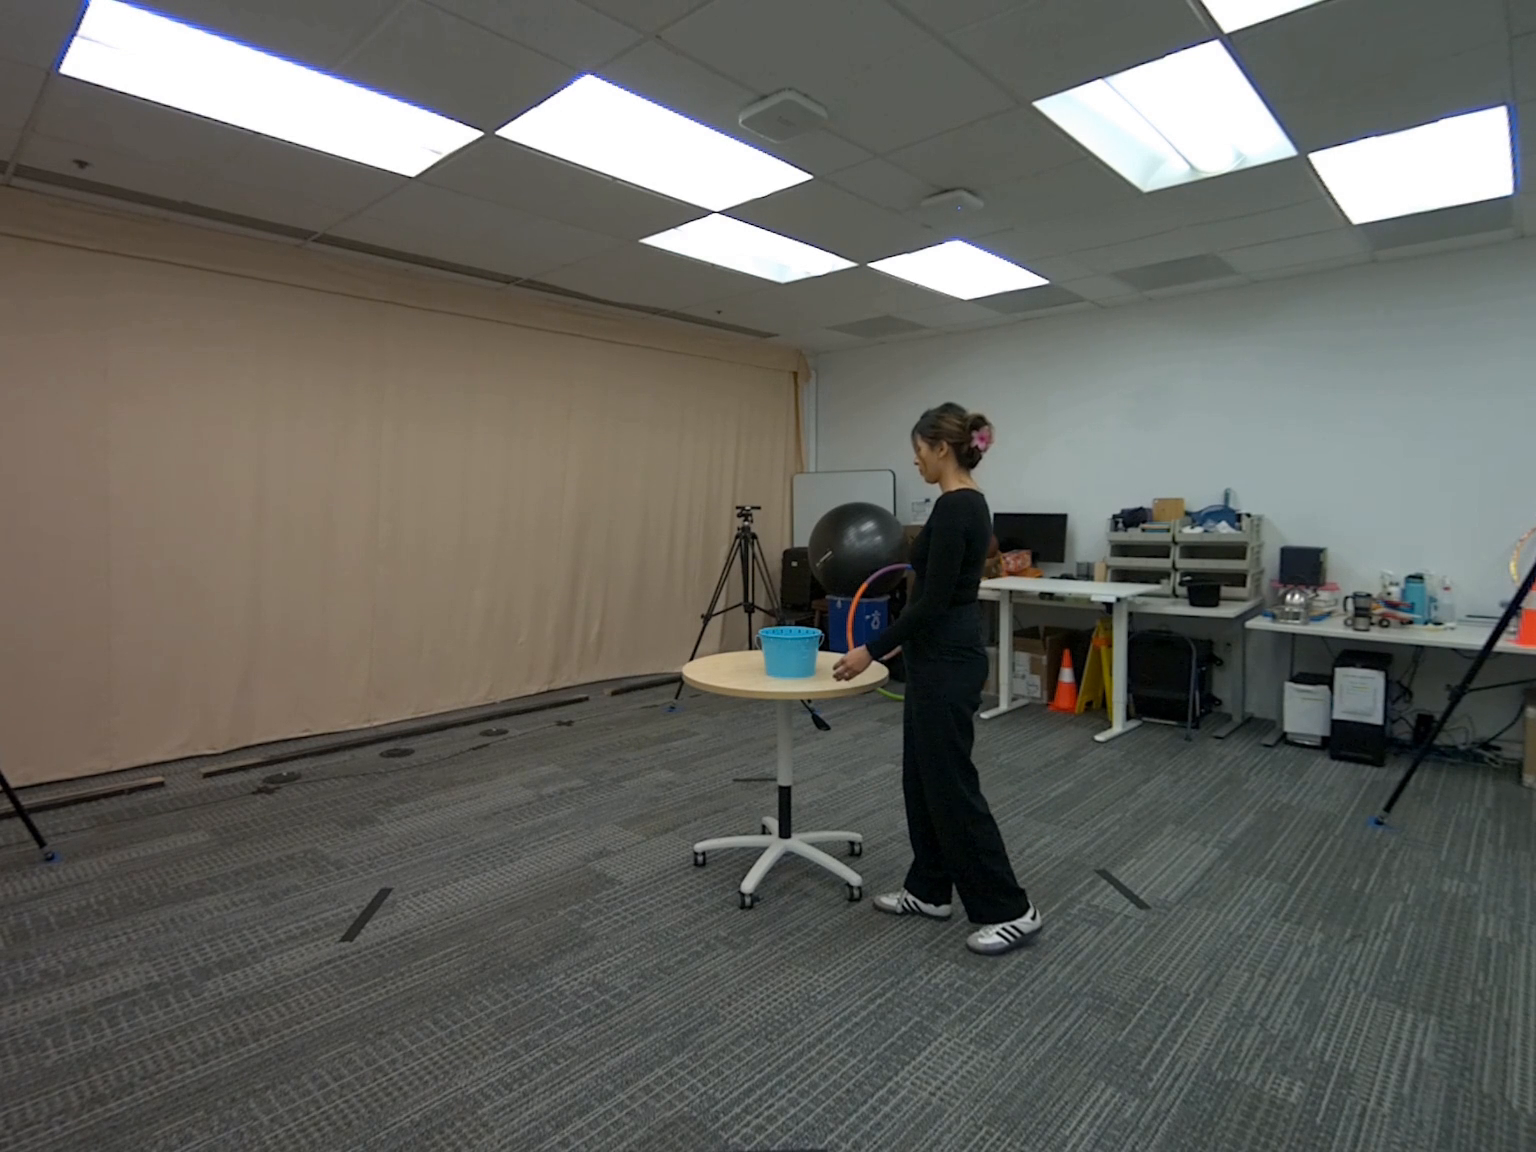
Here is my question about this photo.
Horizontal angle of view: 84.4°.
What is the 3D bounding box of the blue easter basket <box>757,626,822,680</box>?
[{"bbox_3d":[0.090,0.281,3.069,0.243,0.155,0.244,0,5,-2],"label":"blue easter basket"}]
